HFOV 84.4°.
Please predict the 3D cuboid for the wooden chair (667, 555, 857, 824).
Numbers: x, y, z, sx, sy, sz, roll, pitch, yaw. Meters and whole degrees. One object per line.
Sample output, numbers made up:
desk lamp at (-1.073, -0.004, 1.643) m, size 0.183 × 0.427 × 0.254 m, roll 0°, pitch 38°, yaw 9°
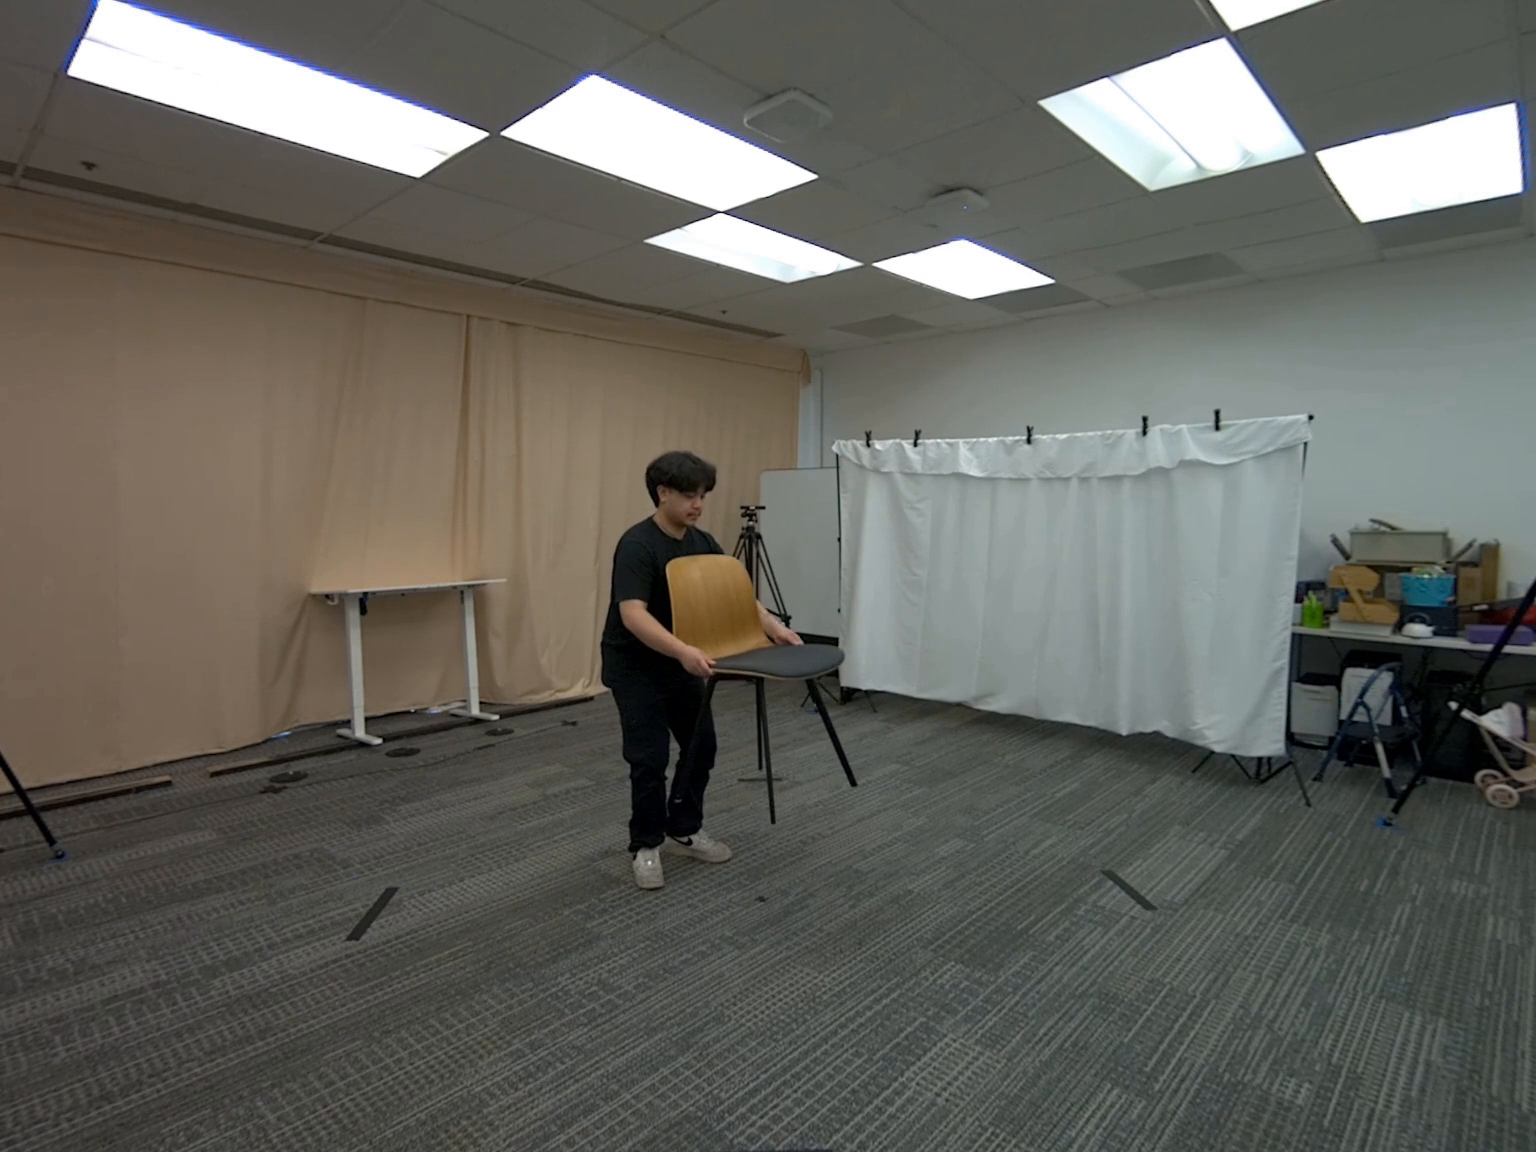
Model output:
wooden chair at (-0.027, 0.343, 2.925) m, size 0.538 × 0.879 × 0.463 m, roll -9°, pitch -3°, yaw 42°
